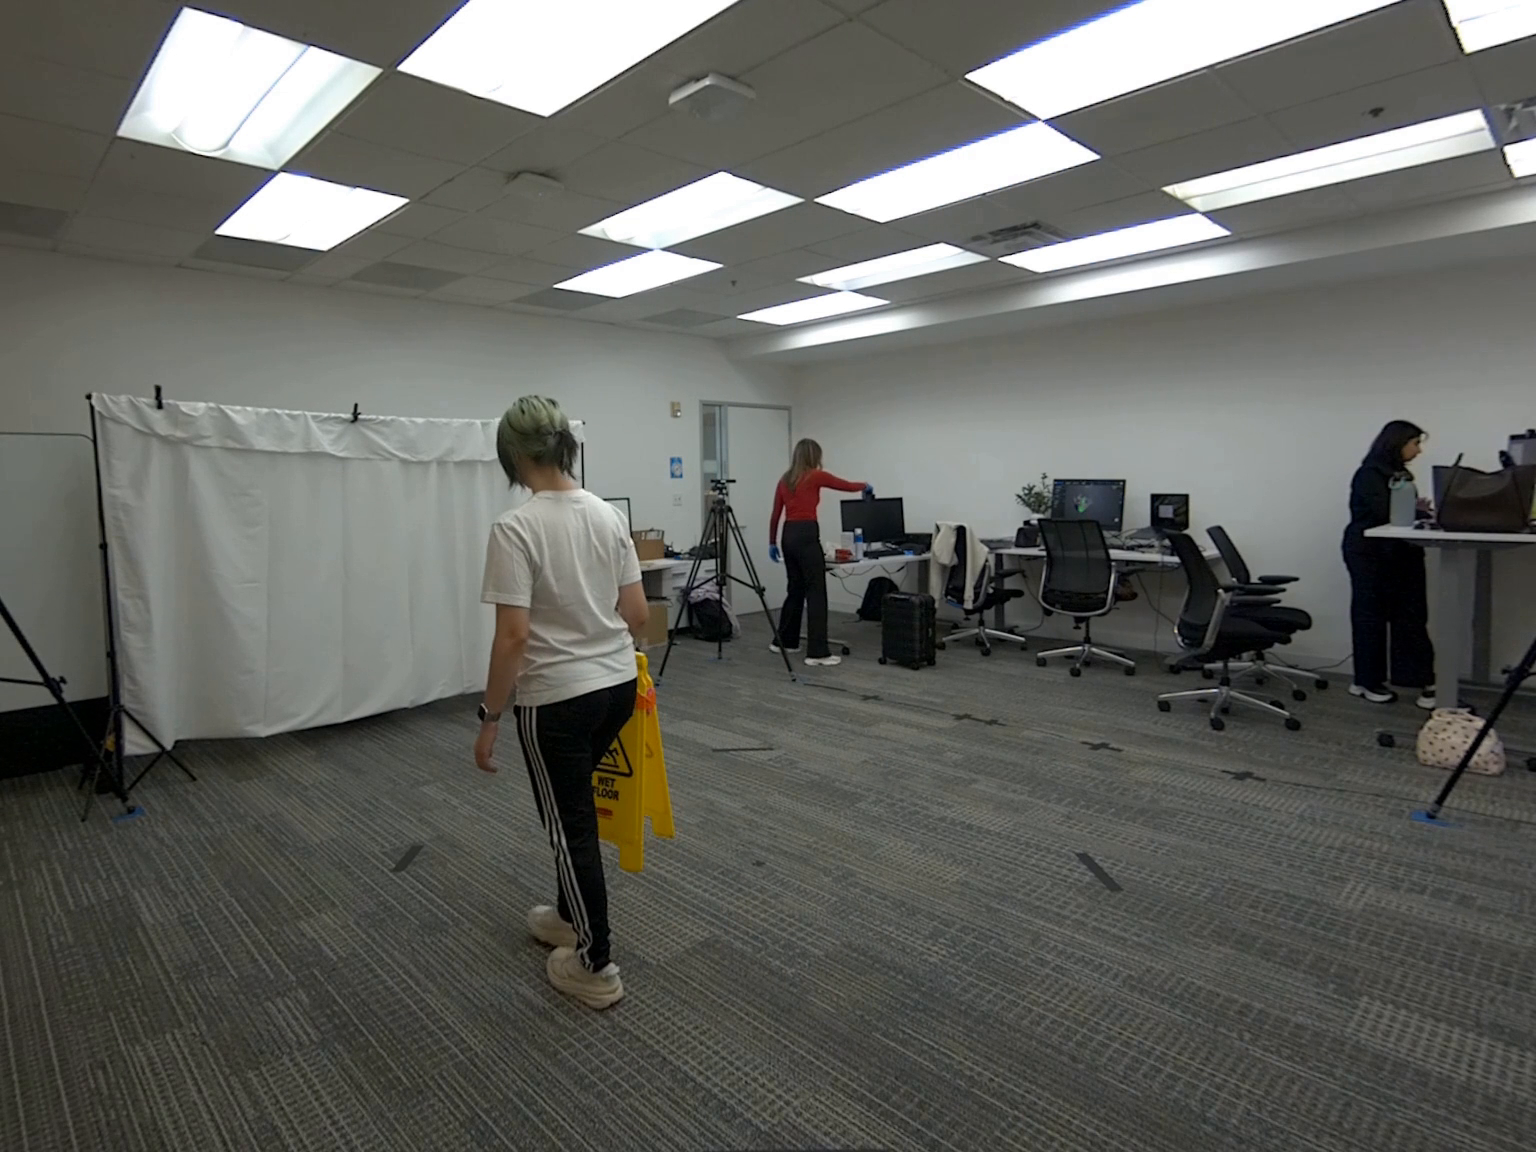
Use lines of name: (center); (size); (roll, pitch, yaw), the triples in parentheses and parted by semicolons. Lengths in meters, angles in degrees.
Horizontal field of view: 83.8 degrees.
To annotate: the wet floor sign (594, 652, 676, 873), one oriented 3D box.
wet floor sign: (-0.470, 0.555, 2.705); (0.288, 0.642, 0.285); (4, 7, 20)
